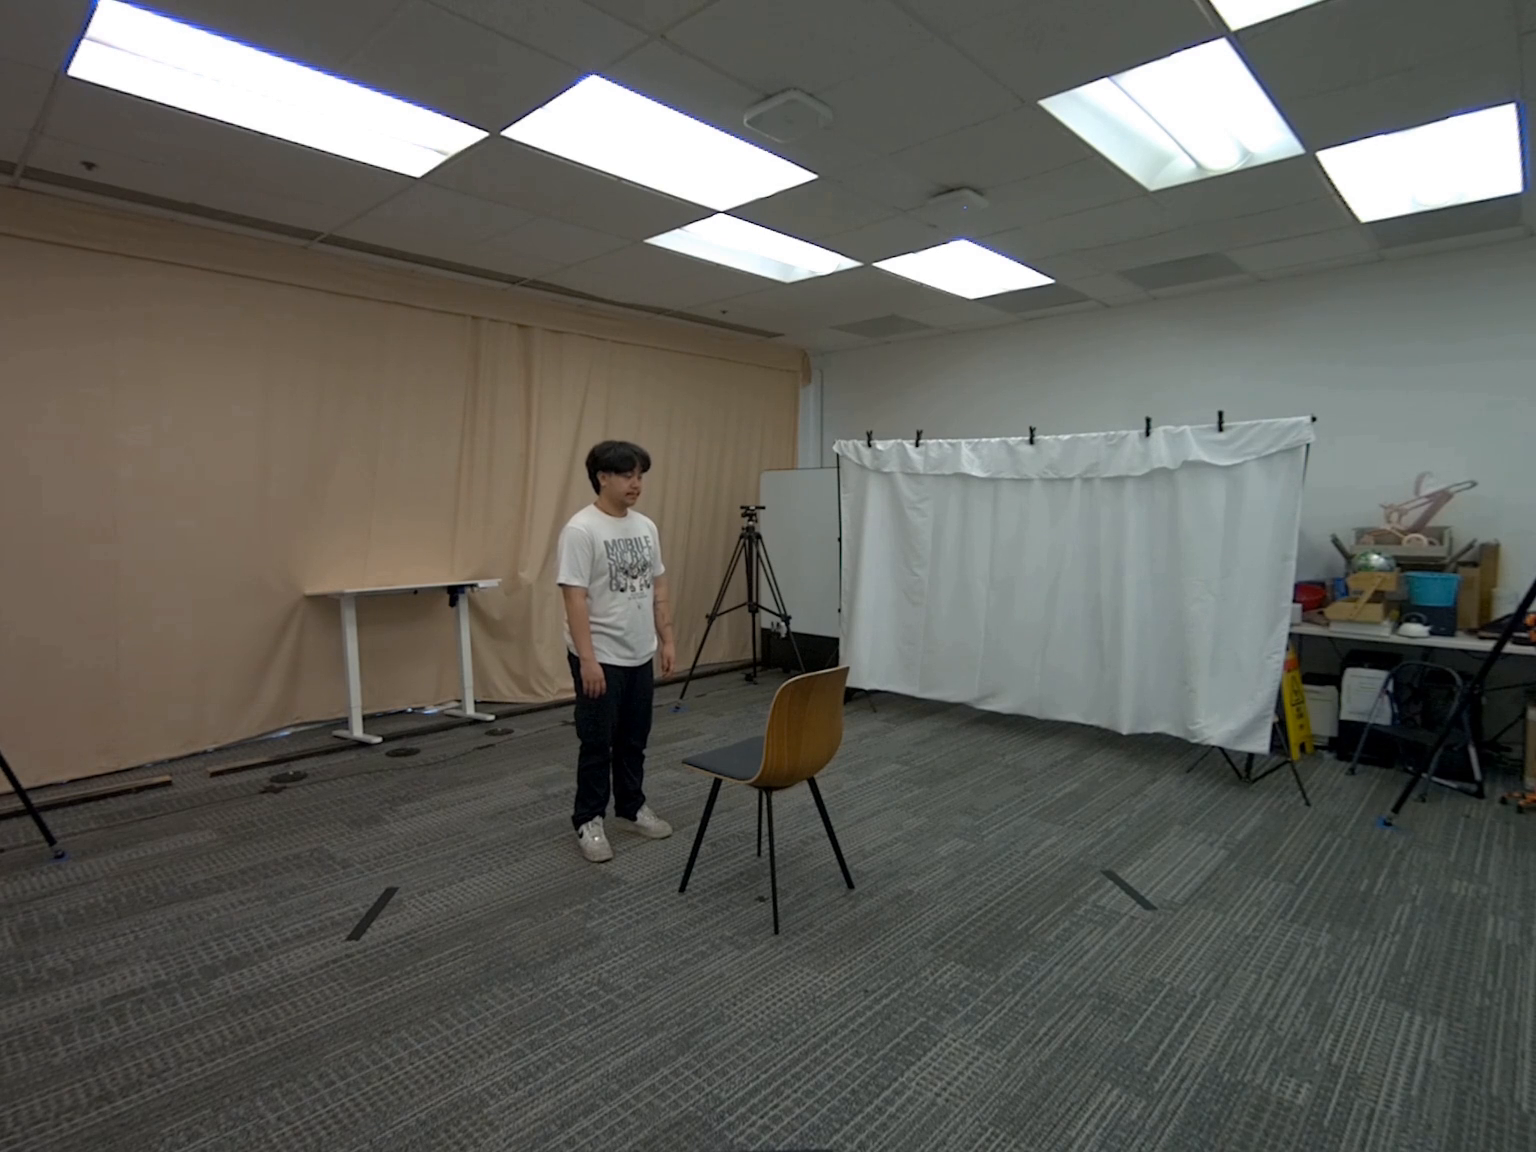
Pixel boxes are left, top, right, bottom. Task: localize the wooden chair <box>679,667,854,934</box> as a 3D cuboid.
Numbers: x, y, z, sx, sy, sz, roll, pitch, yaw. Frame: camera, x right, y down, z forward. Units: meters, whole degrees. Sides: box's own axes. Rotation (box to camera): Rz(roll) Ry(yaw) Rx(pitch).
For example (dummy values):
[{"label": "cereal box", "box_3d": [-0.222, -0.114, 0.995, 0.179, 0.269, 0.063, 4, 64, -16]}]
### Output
[{"label": "wooden chair", "box_3d": [-0.010, 0.712, 3.024, 0.541, 0.874, 0.463, 8, 8, 41]}]
